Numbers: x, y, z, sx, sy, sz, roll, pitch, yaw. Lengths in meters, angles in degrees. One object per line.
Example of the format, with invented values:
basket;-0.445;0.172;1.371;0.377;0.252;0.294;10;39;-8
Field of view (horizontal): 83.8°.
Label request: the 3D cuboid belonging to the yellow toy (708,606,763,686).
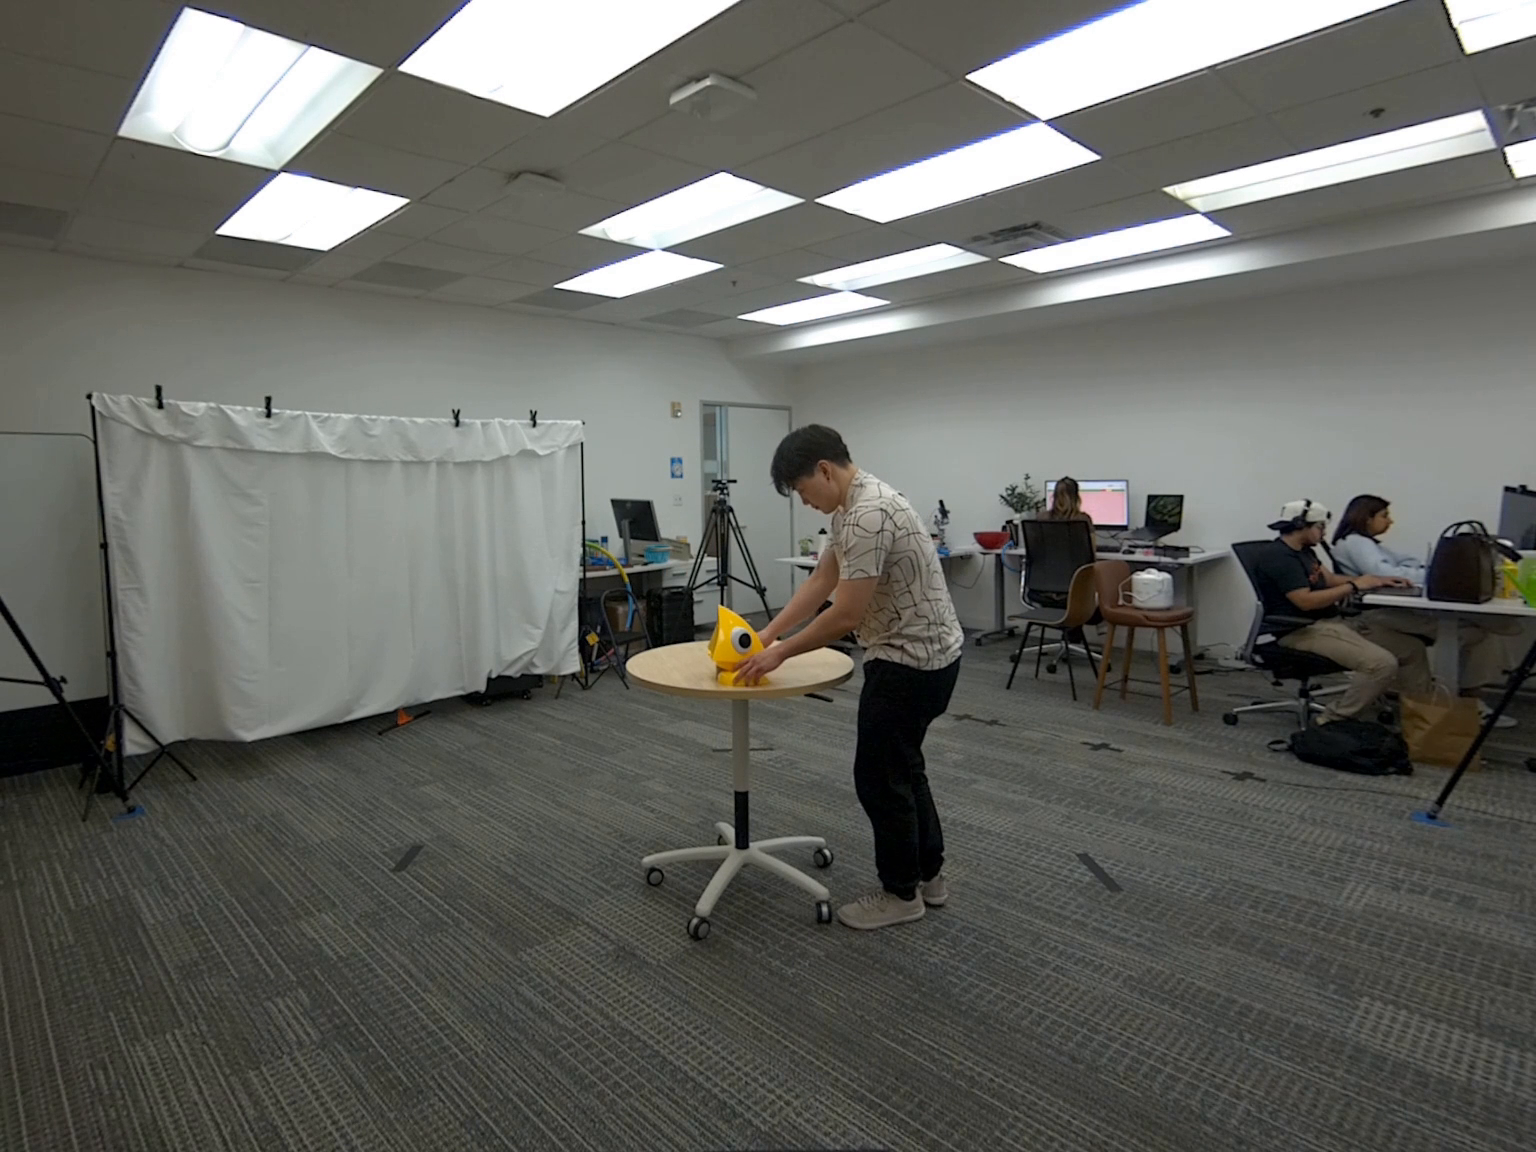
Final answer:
yellow toy;-0.075;0.208;2.645;0.191;0.230;0.207;2;5;-8
